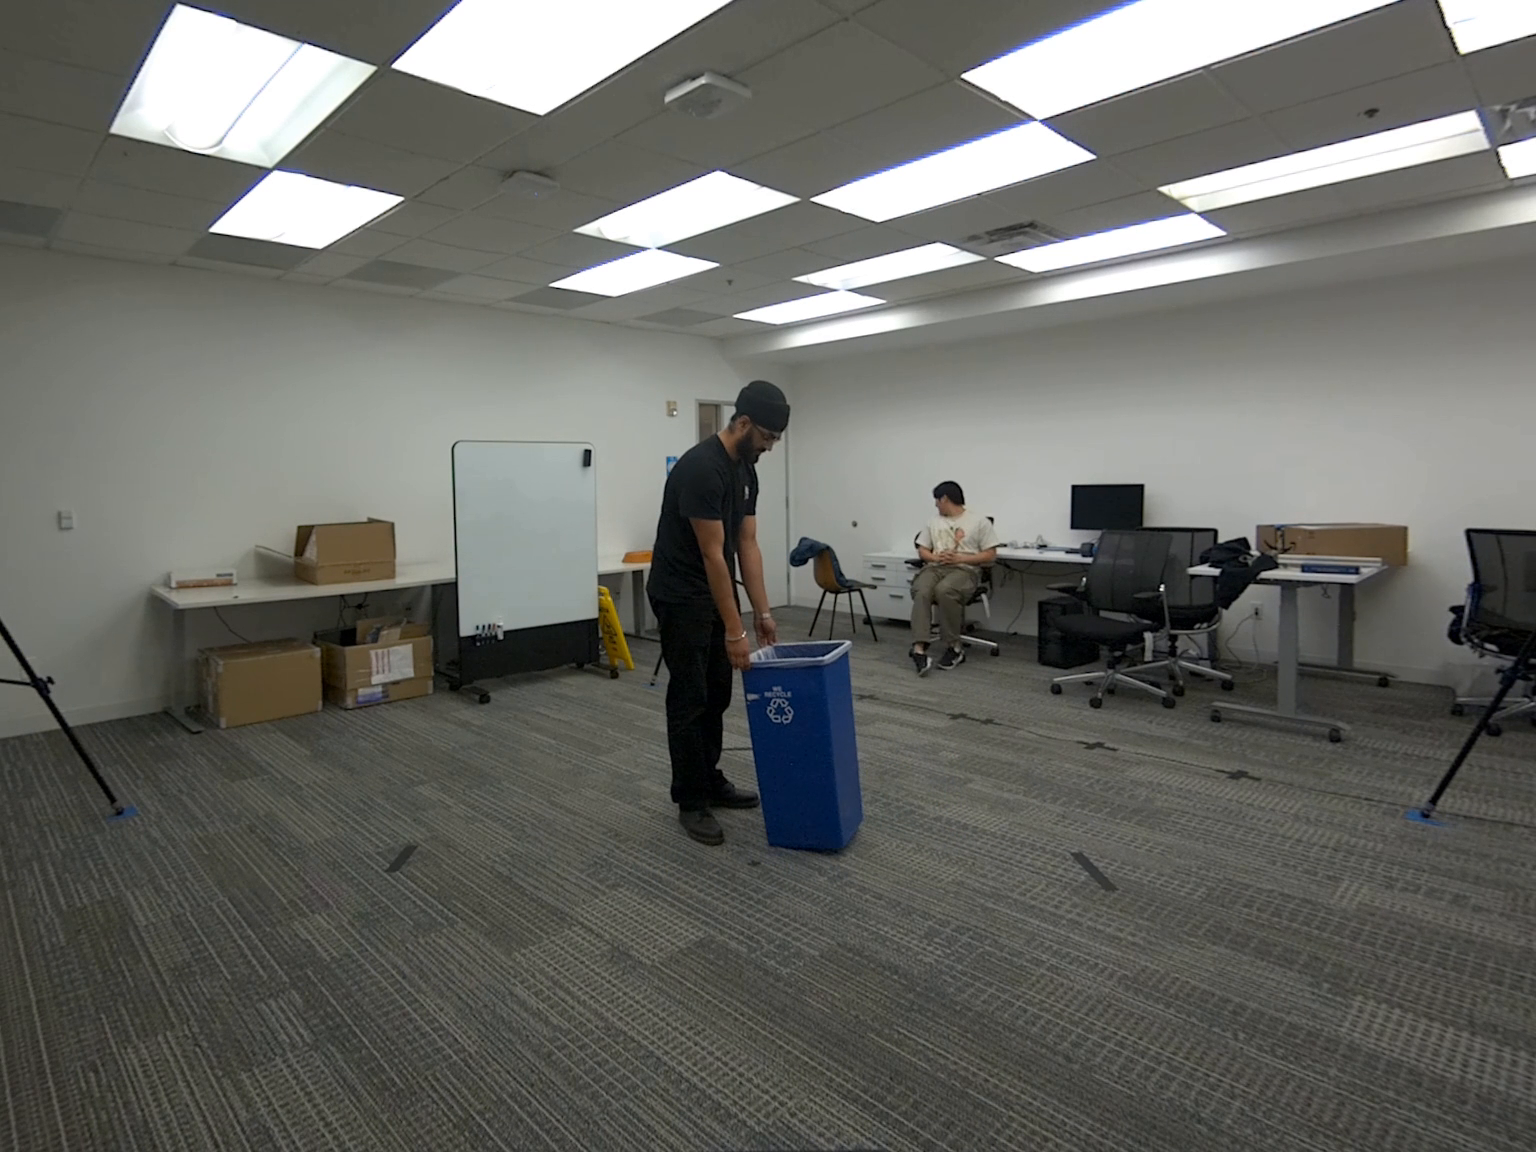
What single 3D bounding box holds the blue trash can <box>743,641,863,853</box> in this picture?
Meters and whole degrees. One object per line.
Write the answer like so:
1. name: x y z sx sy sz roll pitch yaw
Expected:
1. blue trash can: 0.144 0.646 3.312 0.381 0.712 0.371 -6 2 23
